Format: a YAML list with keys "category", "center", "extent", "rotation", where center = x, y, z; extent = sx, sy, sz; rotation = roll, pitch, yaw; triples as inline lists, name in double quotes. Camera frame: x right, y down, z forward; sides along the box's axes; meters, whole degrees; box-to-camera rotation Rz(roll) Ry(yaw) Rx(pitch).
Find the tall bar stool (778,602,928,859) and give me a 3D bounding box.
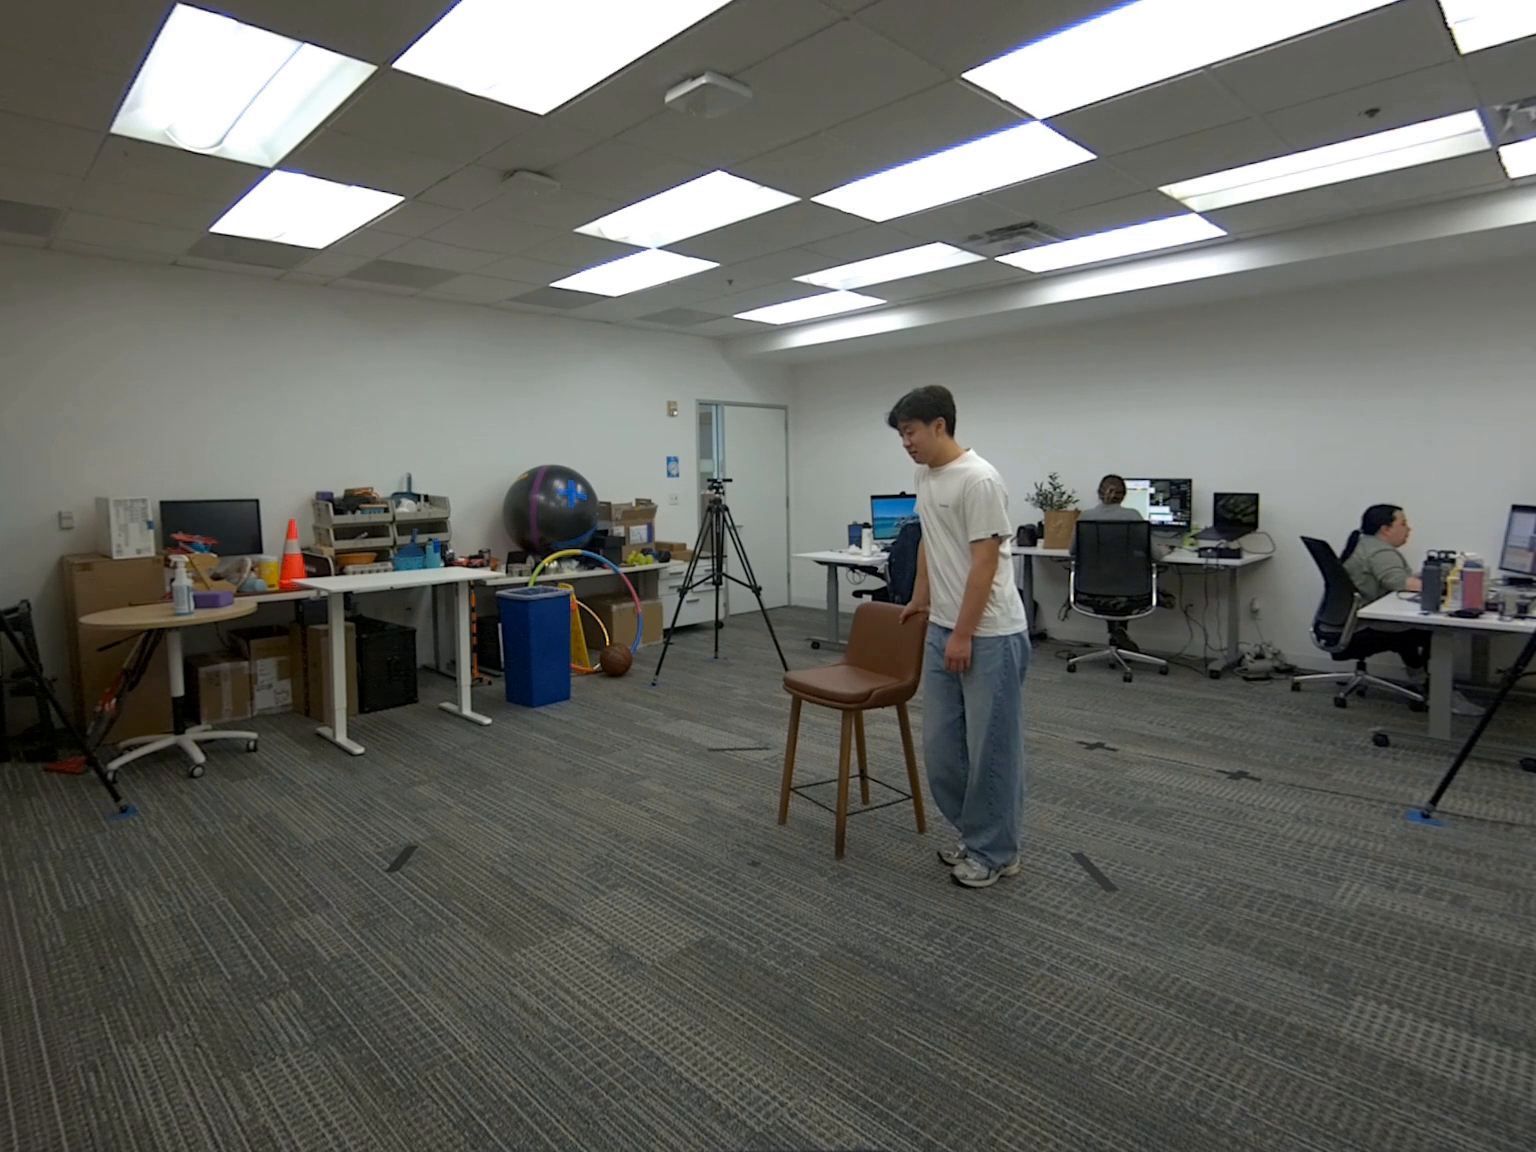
- category: "tall bar stool"
  center: [0.338, 0.570, 3.395]
  extent: [0.456, 0.888, 0.469]
  rotation: [-1, 3, -32]
